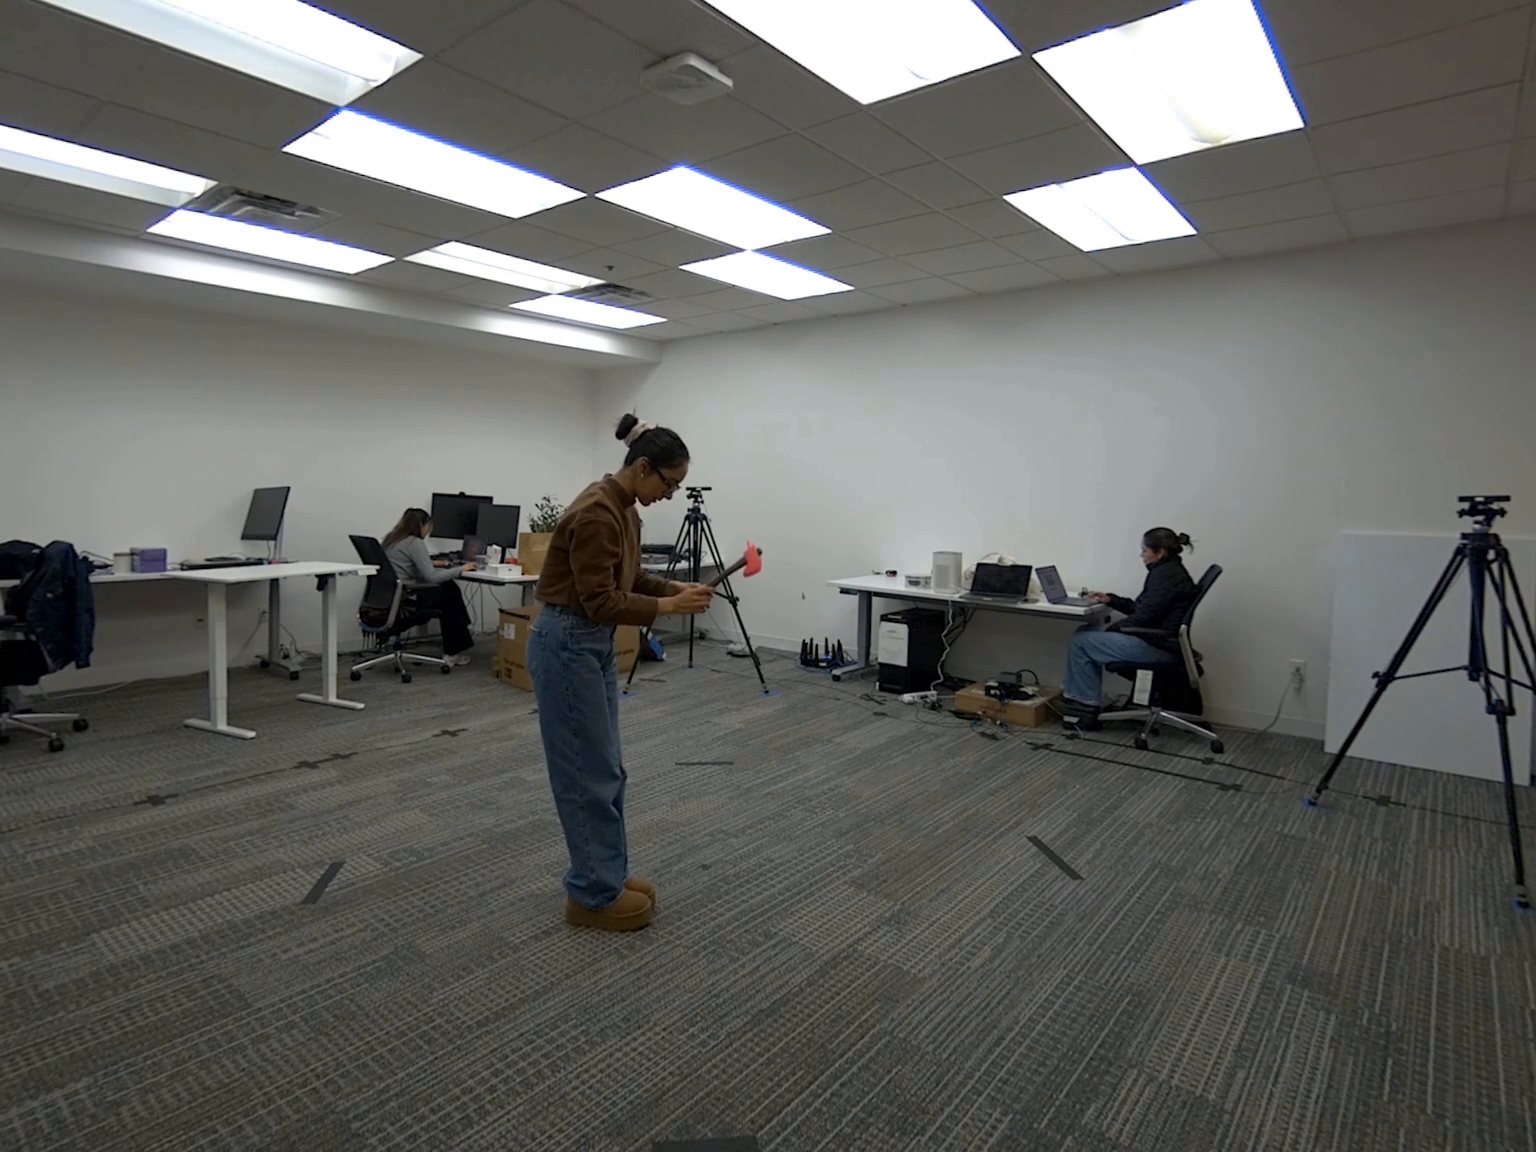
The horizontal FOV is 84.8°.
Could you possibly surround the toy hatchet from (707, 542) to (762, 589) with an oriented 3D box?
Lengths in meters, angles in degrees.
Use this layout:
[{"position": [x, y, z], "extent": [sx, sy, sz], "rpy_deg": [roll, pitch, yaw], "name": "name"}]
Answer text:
[{"position": [-0.125, 0.001, 2.624], "extent": [0.028, 0.270, 0.137], "rpy_deg": [35, 11, -44], "name": "toy hatchet"}]
